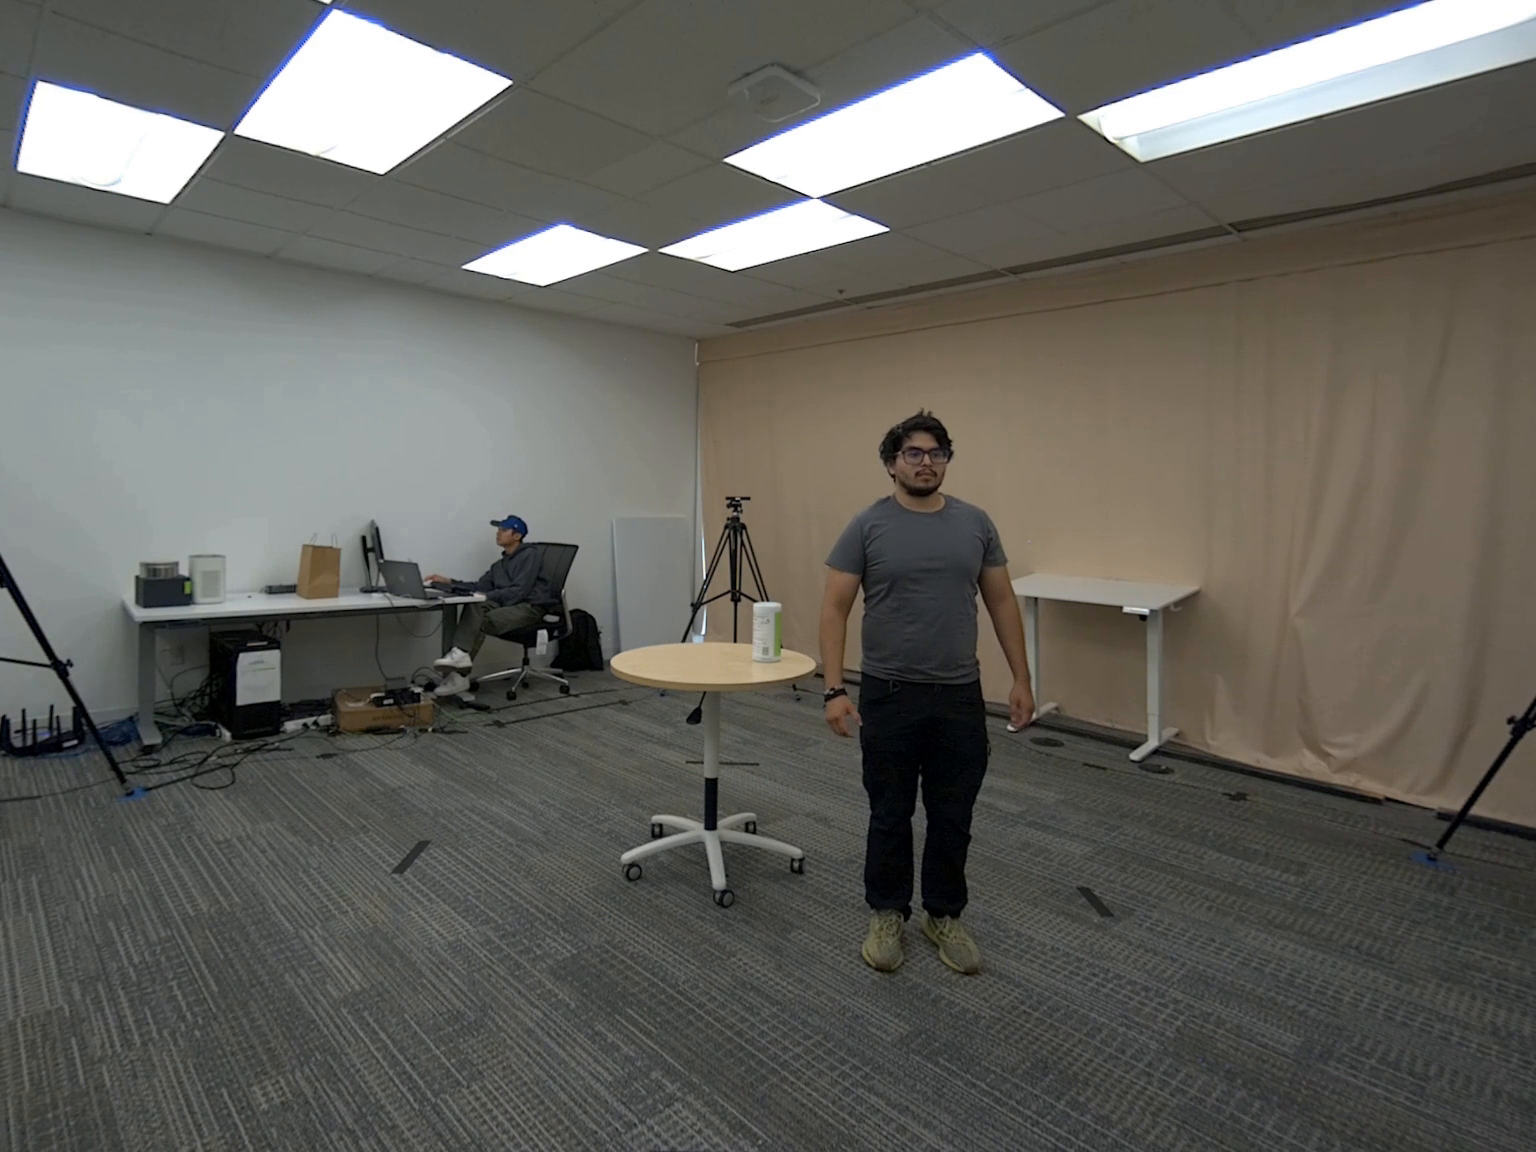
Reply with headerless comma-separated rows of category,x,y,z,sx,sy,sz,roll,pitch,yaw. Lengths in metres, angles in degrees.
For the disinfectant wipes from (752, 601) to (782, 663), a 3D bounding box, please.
disinfectant wipes,-0.015,0.215,3.177,0.118,0.217,0.118,2,4,-2
